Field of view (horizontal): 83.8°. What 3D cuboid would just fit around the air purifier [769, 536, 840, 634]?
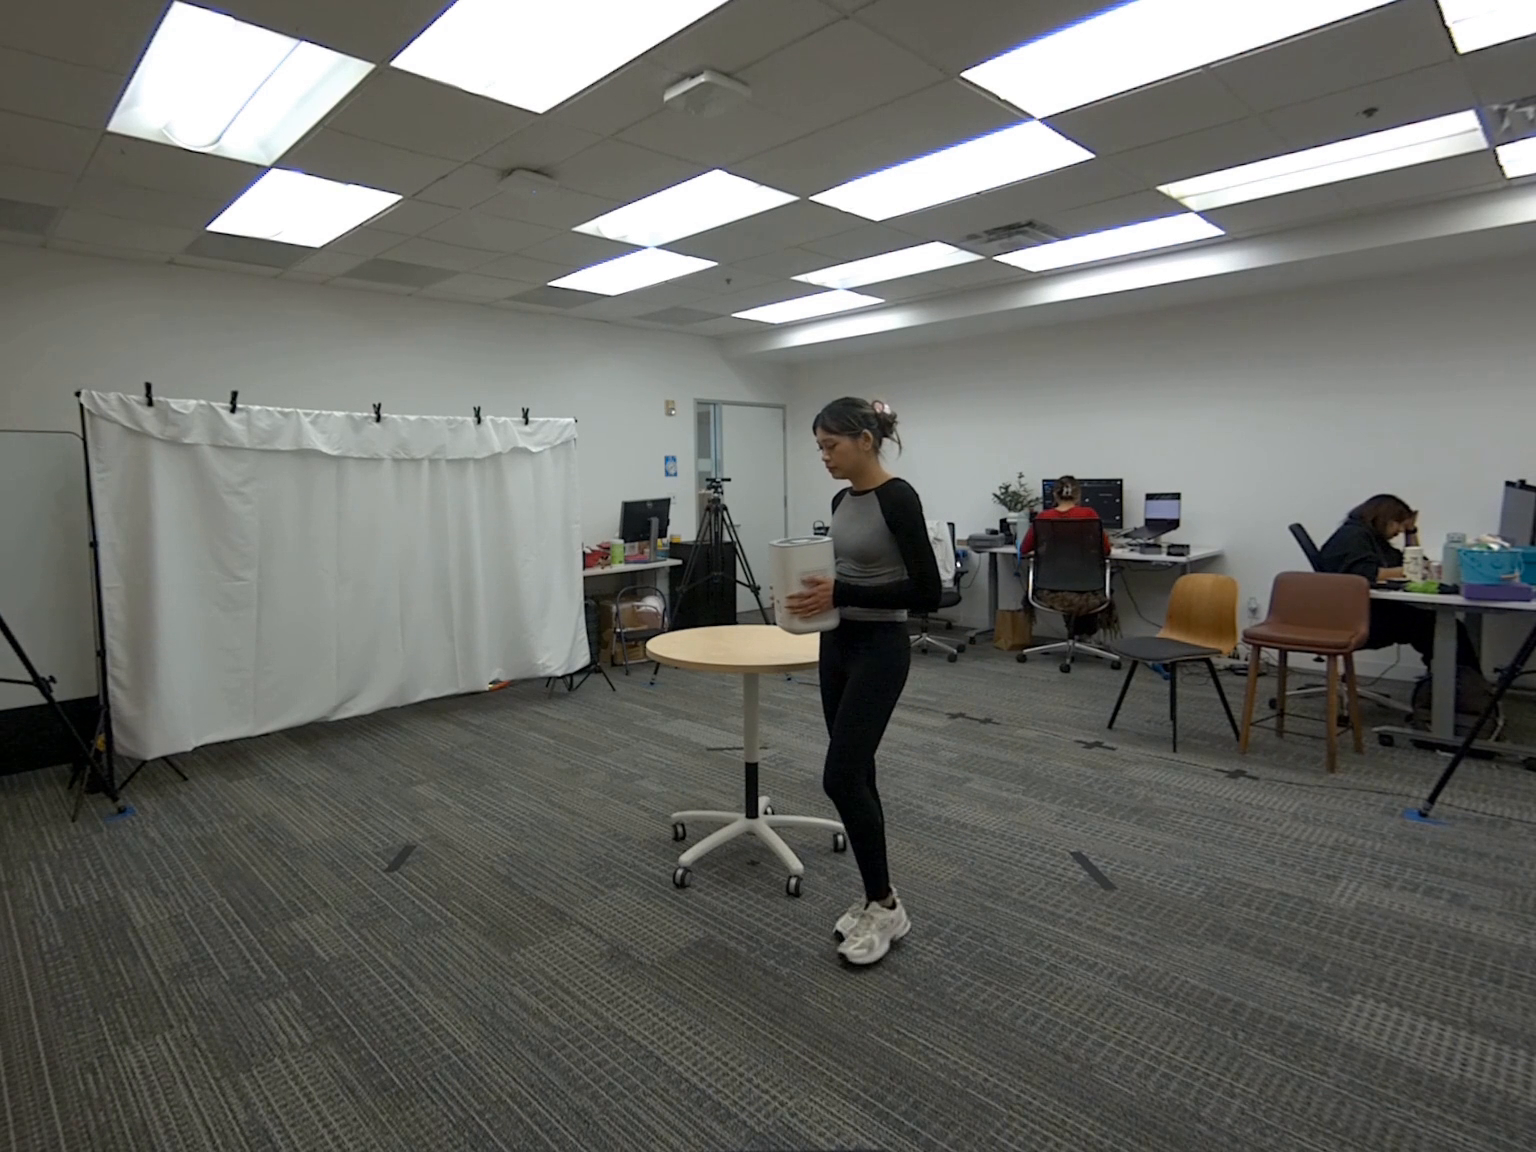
[{"bbox_3d":[0.108,0.025,2.502,0.169,0.264,0.174,-6,7,-15],"label":"air purifier"}]
